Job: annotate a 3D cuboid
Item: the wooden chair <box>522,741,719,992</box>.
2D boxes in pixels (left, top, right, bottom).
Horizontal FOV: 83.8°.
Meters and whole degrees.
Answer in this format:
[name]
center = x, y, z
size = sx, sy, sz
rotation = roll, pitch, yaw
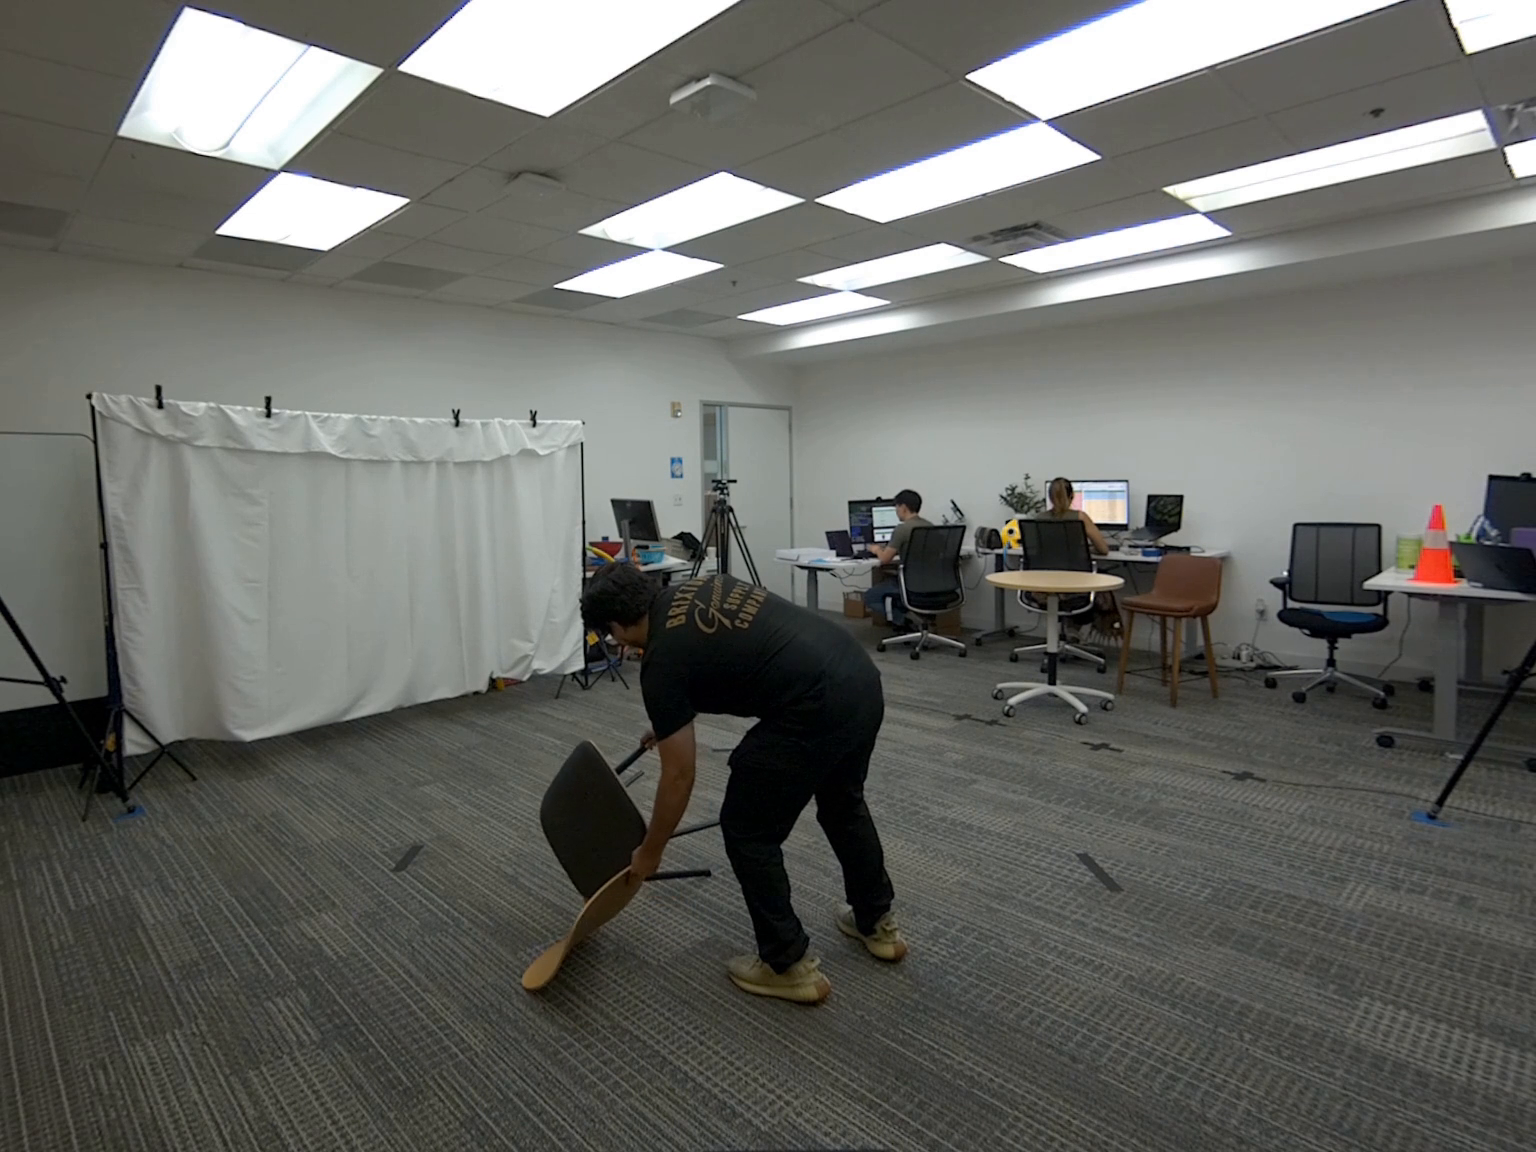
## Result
[wooden chair]
center = -0.495, 0.809, 2.687
size = 0.536, 0.475, 0.860
rotation = 47, 34, 18
